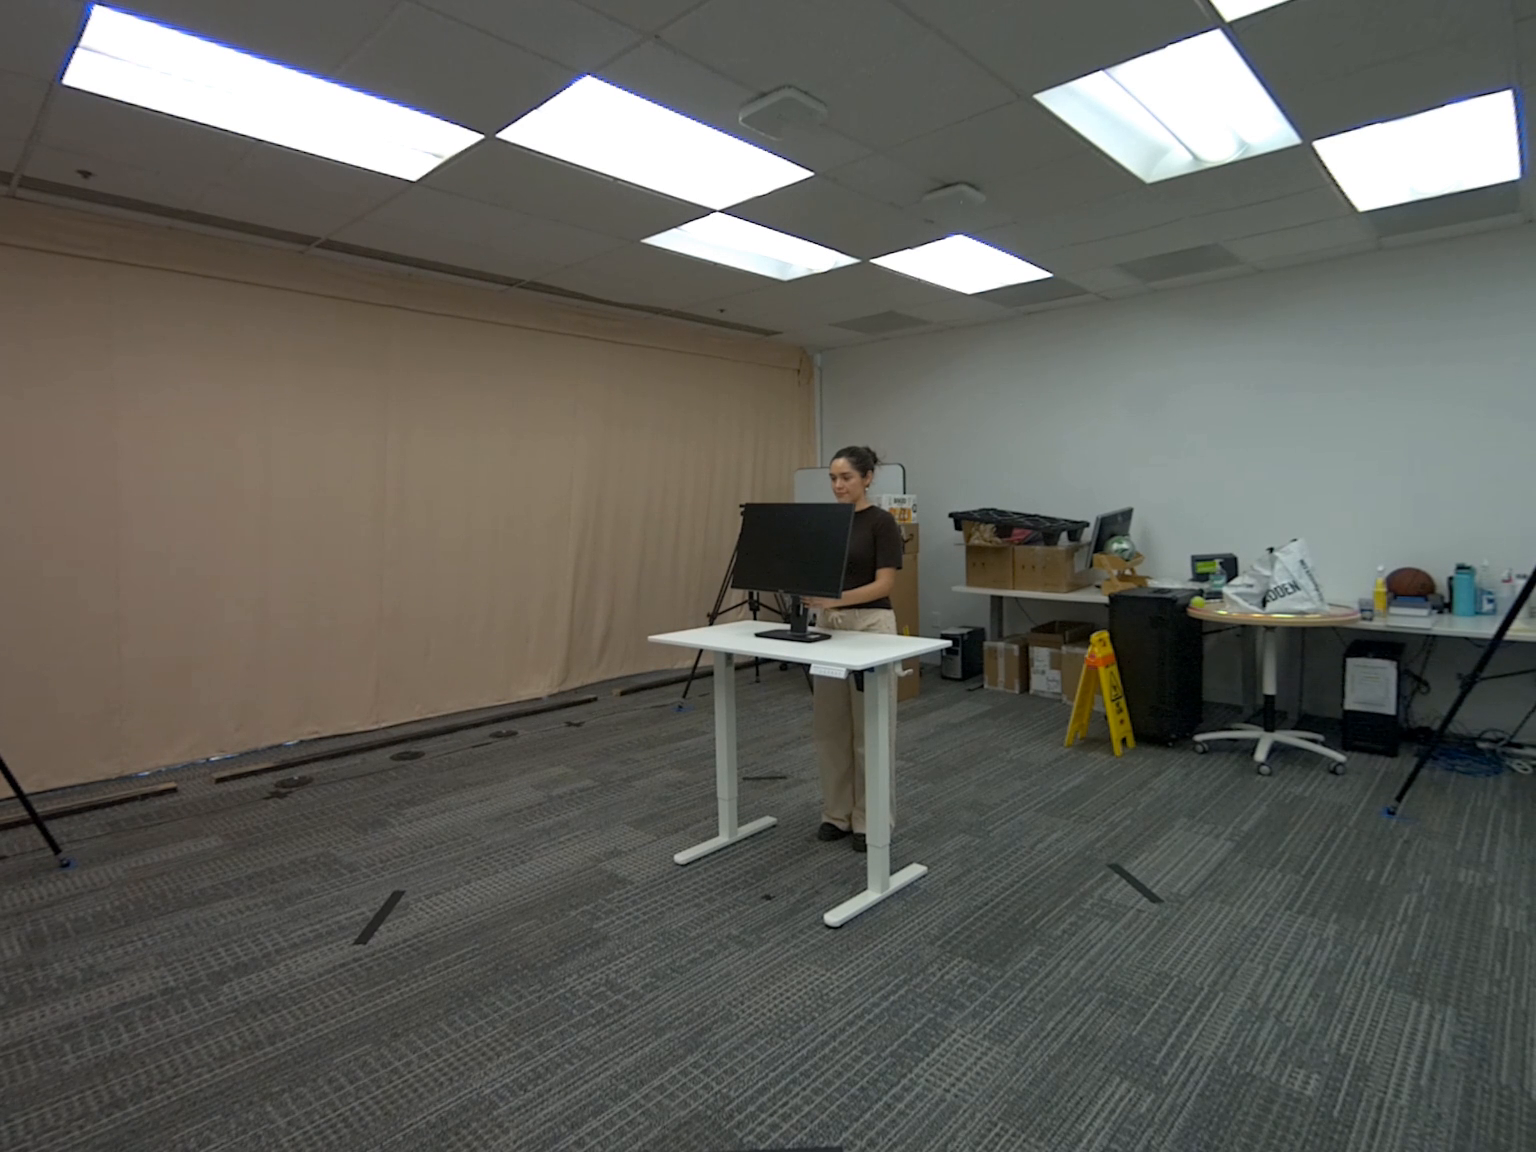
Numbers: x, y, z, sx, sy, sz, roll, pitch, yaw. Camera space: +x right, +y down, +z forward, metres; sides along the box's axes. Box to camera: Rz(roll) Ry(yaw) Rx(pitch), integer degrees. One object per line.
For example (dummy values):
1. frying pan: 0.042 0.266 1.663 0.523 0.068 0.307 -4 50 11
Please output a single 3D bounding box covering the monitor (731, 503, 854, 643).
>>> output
1. monitor: 0.103 -0.018 3.213 0.557 0.522 0.181 3 4 42
